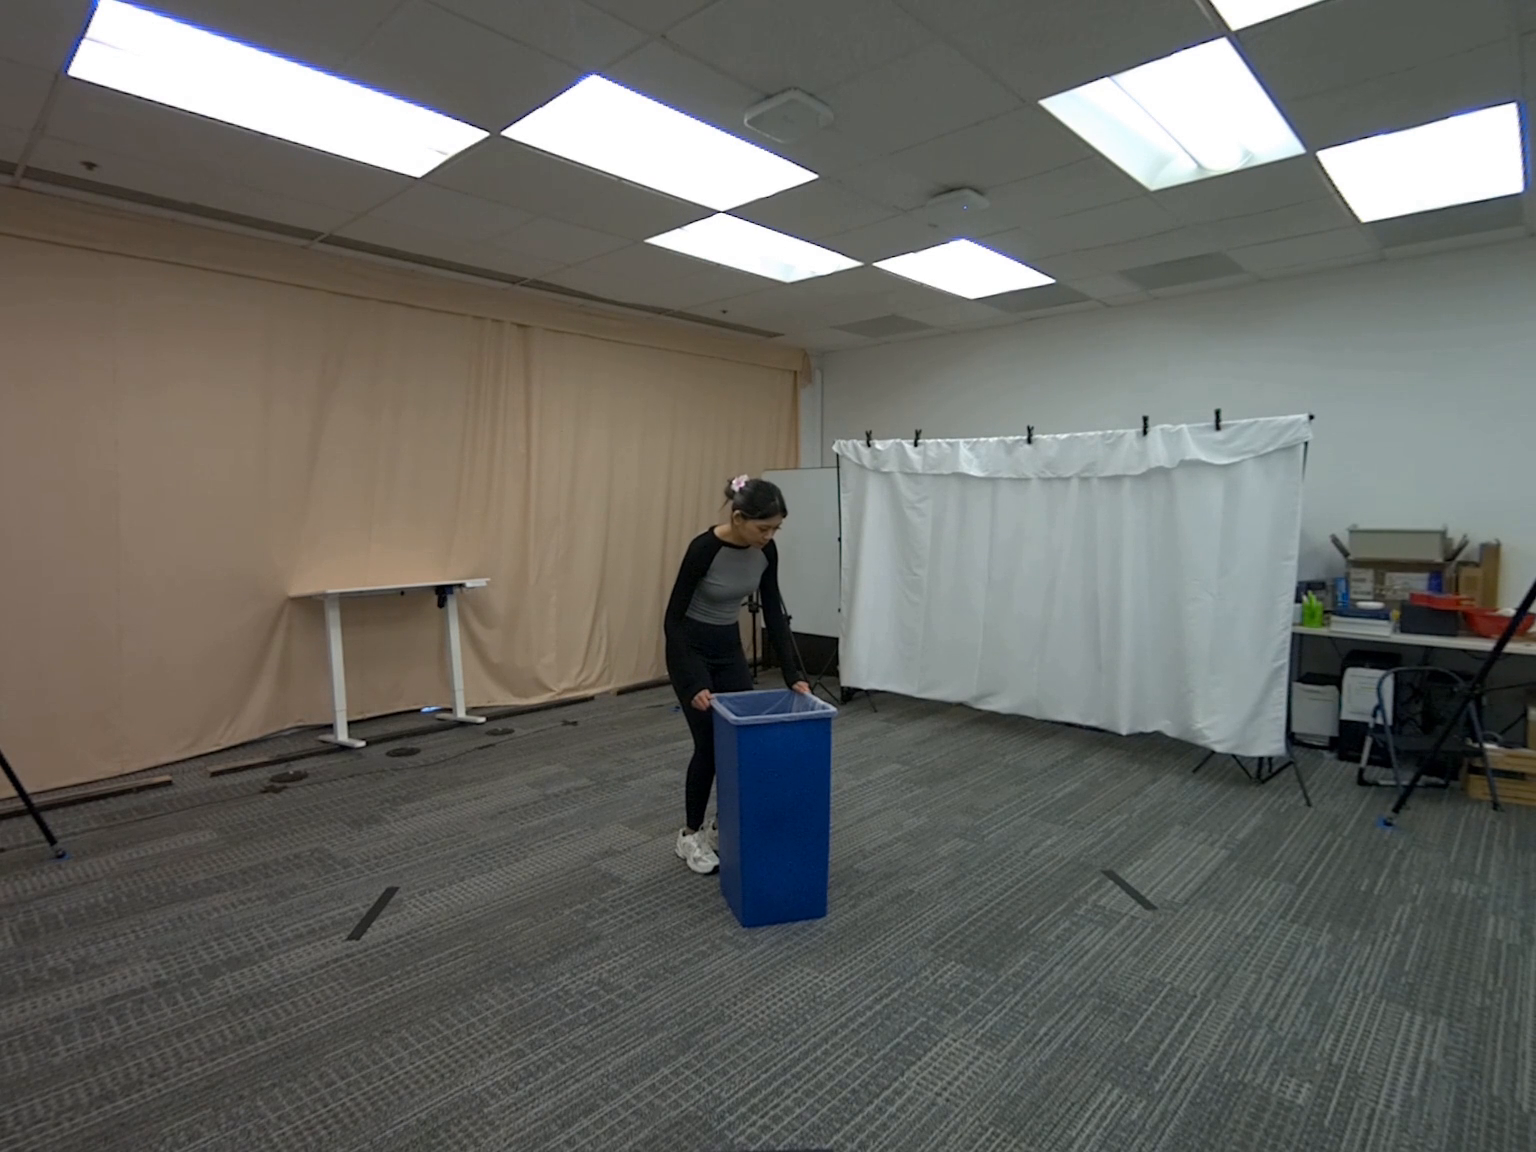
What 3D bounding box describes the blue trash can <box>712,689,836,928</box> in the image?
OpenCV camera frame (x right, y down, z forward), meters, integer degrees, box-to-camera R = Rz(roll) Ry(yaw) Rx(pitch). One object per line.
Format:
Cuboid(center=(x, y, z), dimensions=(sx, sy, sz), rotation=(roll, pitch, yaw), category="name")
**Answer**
Cuboid(center=(0.009, 0.789, 2.942), dimensions=(0.371, 0.712, 0.381), rotation=(-1, 3, -18), category="blue trash can")
